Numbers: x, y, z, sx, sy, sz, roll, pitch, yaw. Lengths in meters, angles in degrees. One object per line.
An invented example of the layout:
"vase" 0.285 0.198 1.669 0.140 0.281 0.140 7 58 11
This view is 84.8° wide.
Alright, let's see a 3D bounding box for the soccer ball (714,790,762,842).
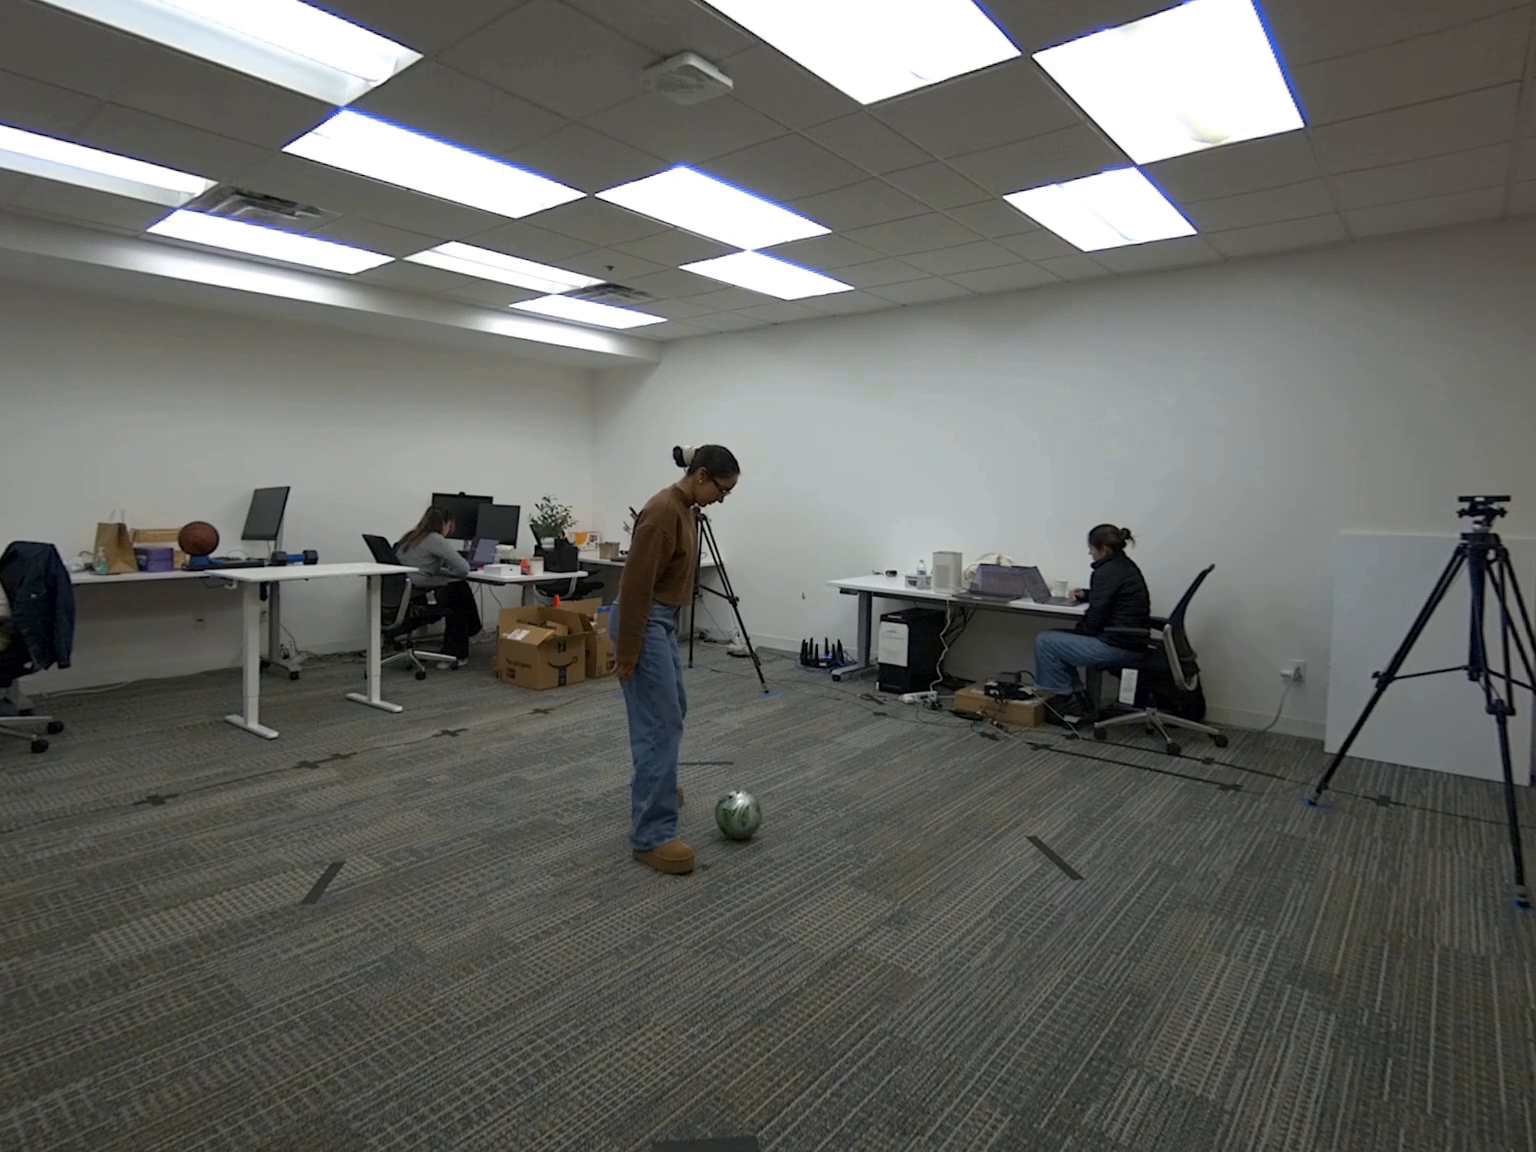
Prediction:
"soccer ball" -0.125 0.944 3.382 0.187 0.187 0.188 1 4 -2
